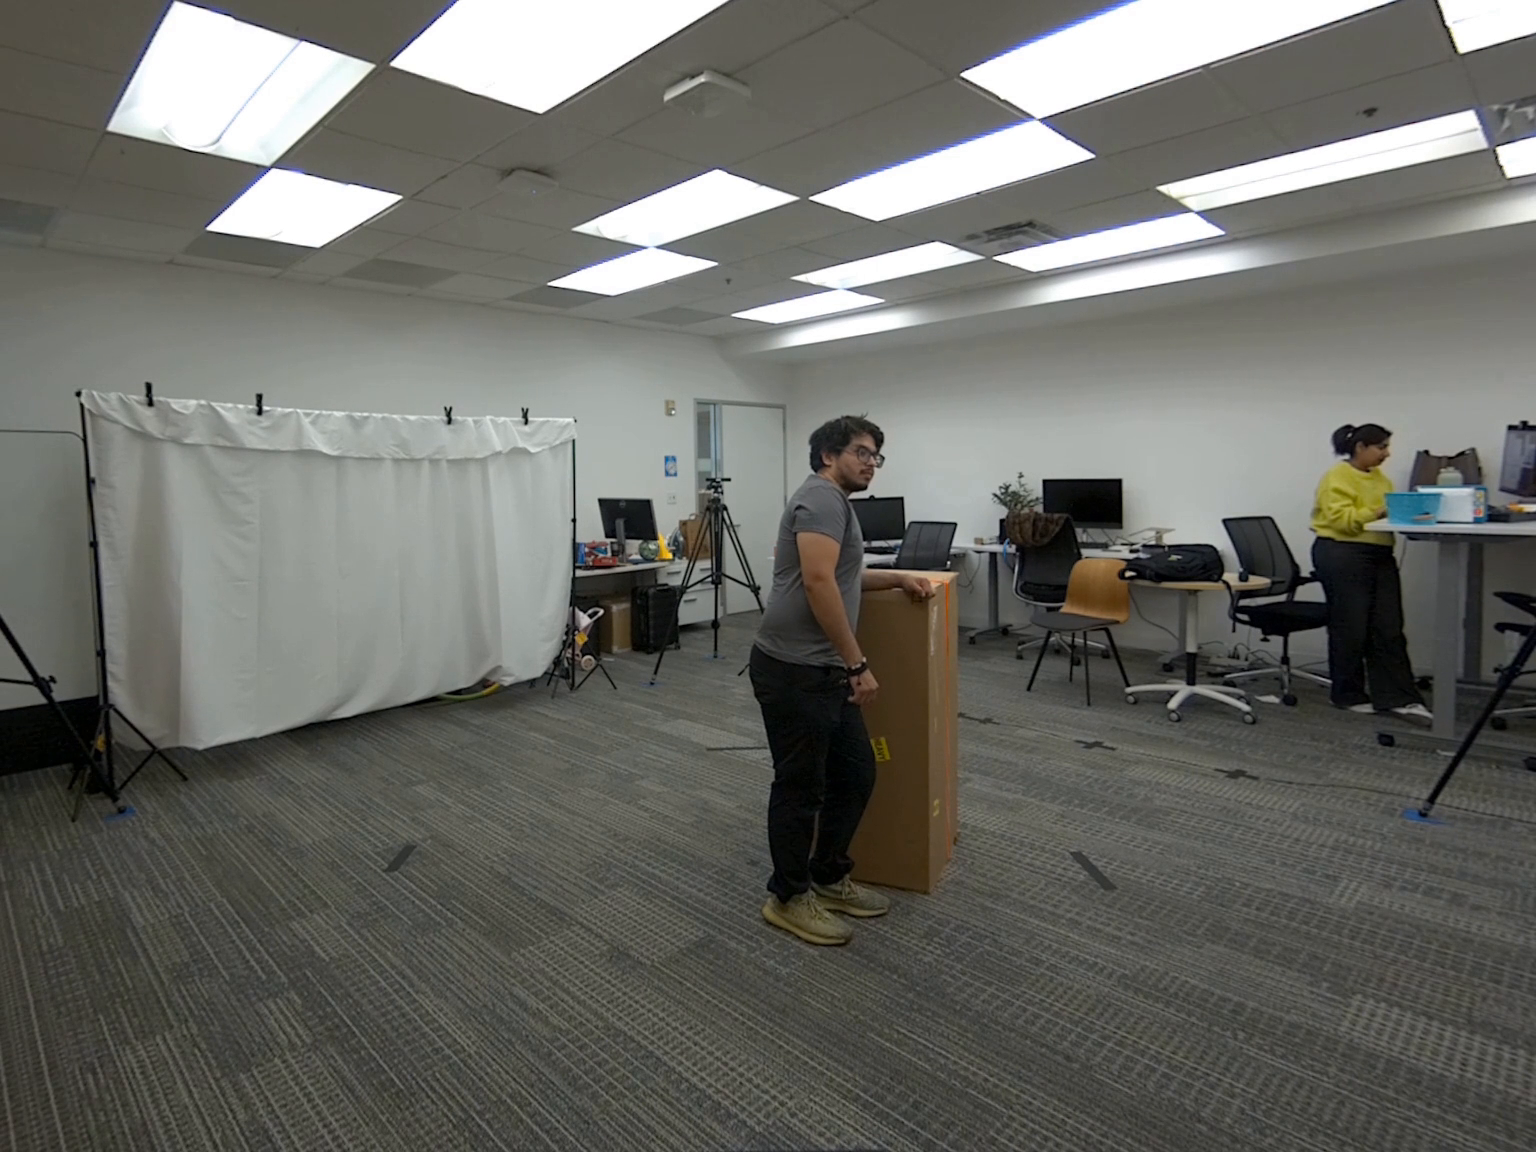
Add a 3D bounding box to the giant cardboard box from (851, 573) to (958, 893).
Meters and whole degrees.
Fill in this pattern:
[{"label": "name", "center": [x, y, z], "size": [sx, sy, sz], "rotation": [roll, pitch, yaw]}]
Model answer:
[{"label": "giant cardboard box", "center": [0.455, 0.519, 3.165], "size": [0.436, 1.022, 0.566], "rotation": [1, 4, 24]}]
